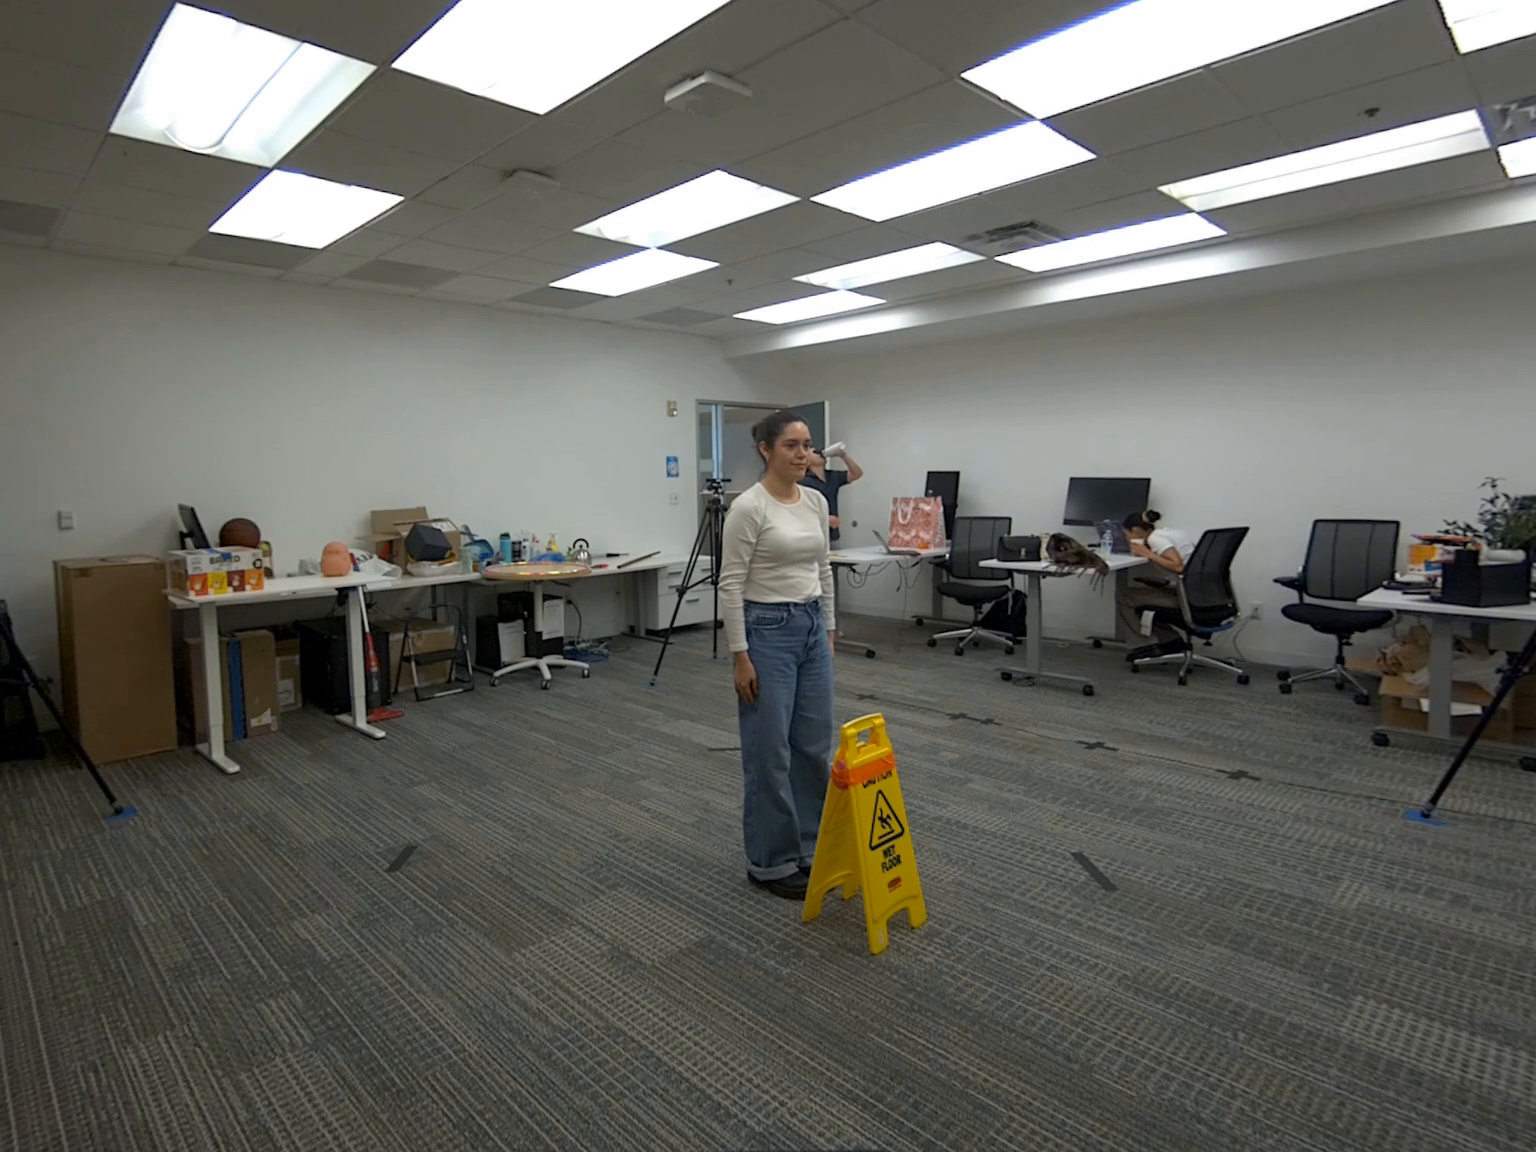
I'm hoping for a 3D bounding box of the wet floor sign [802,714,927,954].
[{"bbox_3d":[0.302,0.764,2.664,0.299,0.643,0.275,5,8,45],"label":"wet floor sign"}]
